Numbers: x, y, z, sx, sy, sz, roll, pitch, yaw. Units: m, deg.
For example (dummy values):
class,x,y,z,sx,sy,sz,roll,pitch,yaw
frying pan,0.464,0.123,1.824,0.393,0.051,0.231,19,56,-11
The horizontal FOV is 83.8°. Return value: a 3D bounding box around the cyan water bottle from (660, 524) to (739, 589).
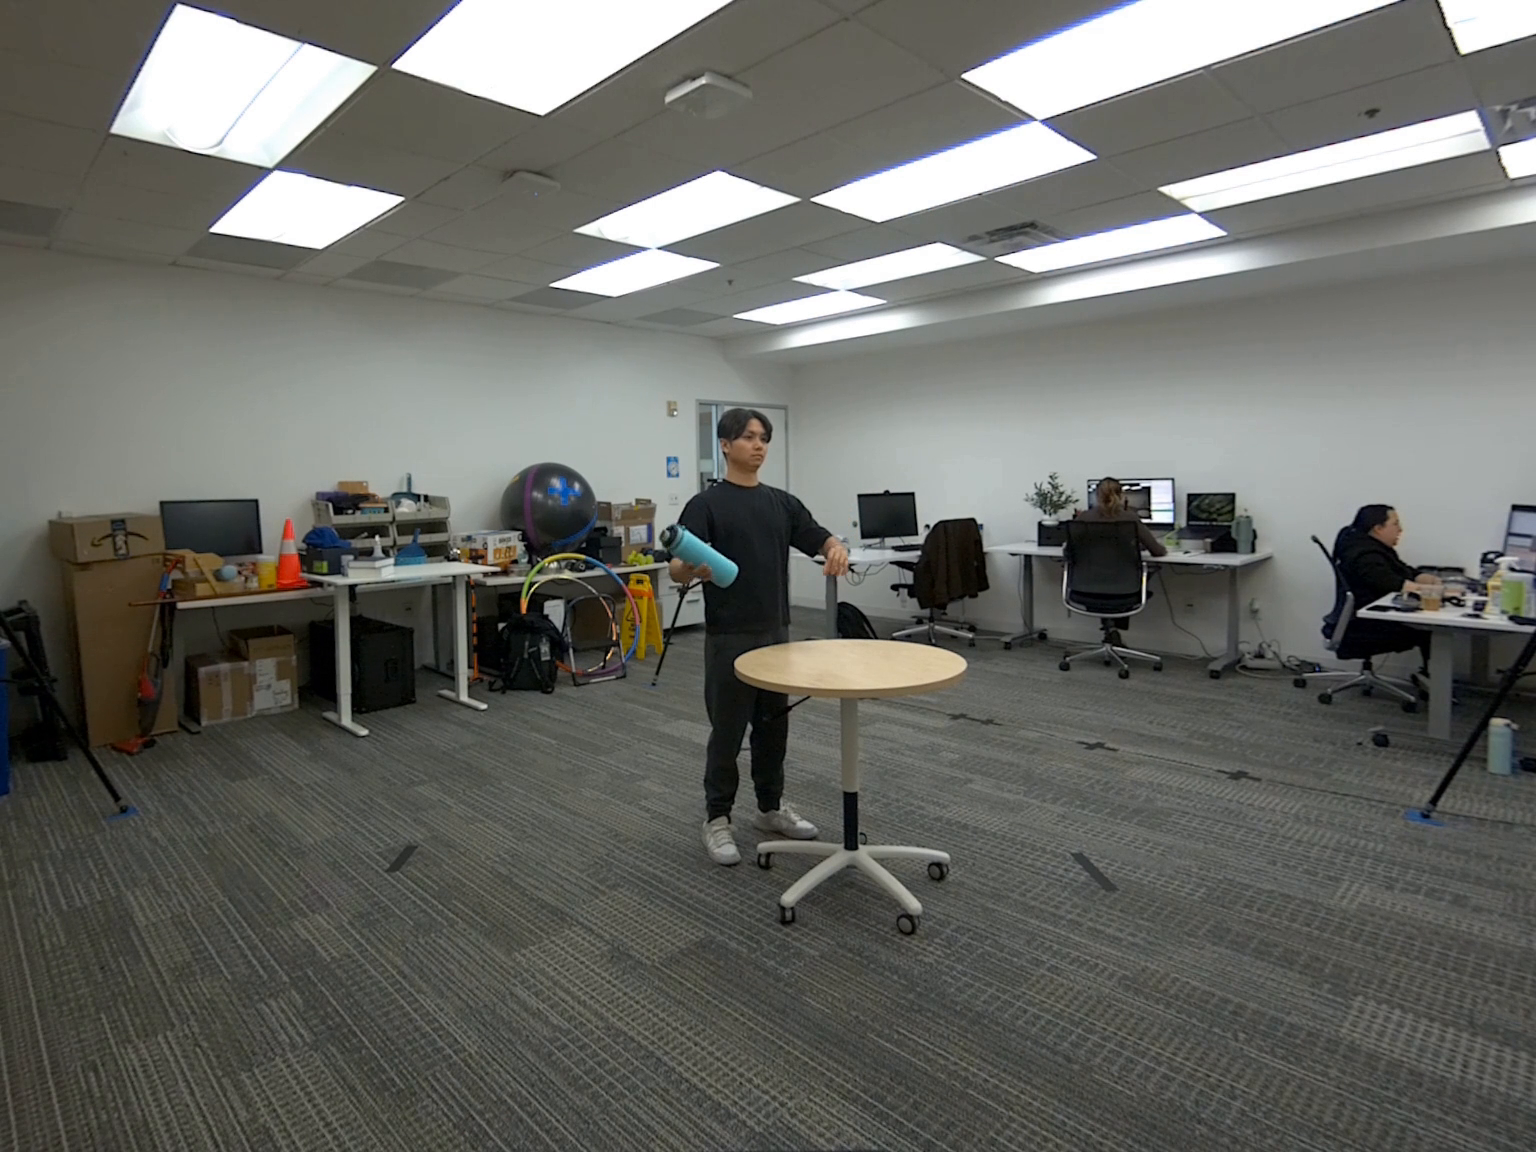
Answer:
class,x,y,z,sx,sy,sz,roll,pitch,yaw
cyan water bottle,-0.213,-0.079,2.747,0.275,0.093,0.095,35,-14,-26
